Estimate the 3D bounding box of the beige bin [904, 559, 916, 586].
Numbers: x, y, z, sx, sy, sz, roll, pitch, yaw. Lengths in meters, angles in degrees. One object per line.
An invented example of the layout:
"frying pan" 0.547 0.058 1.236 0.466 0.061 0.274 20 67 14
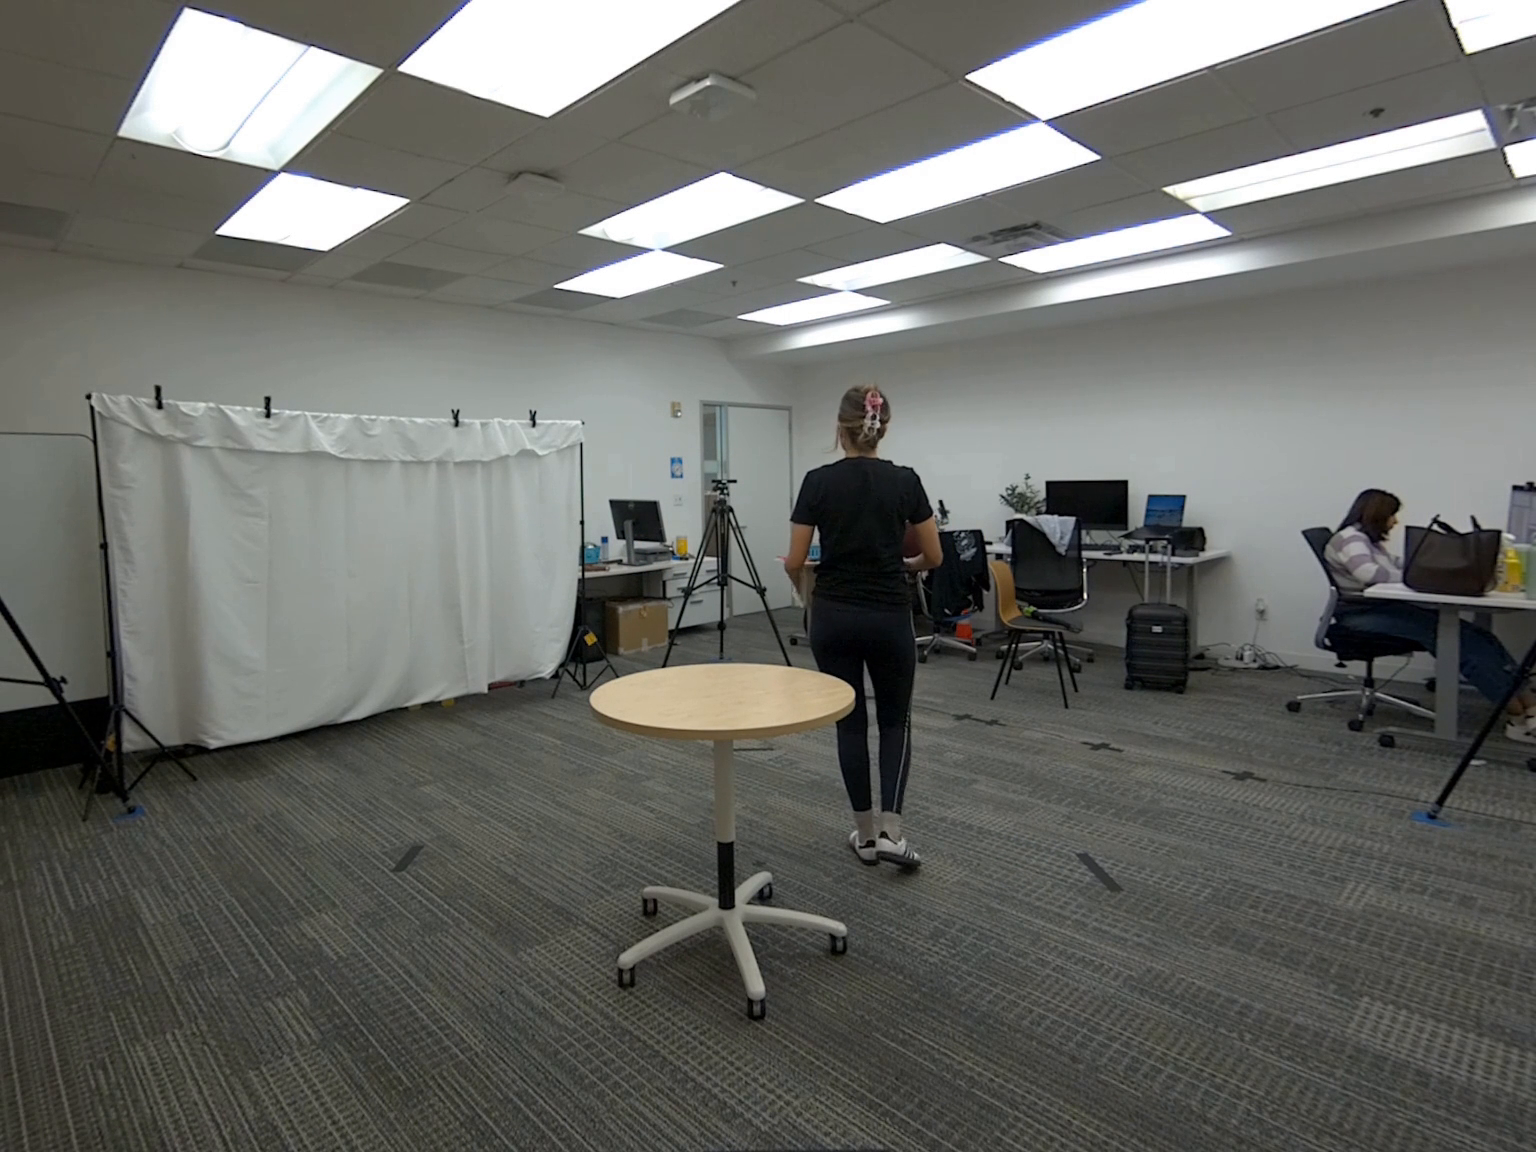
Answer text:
"beige bin" 0.327 0.016 3.477 0.421 0.187 0.382 -1 9 -5
